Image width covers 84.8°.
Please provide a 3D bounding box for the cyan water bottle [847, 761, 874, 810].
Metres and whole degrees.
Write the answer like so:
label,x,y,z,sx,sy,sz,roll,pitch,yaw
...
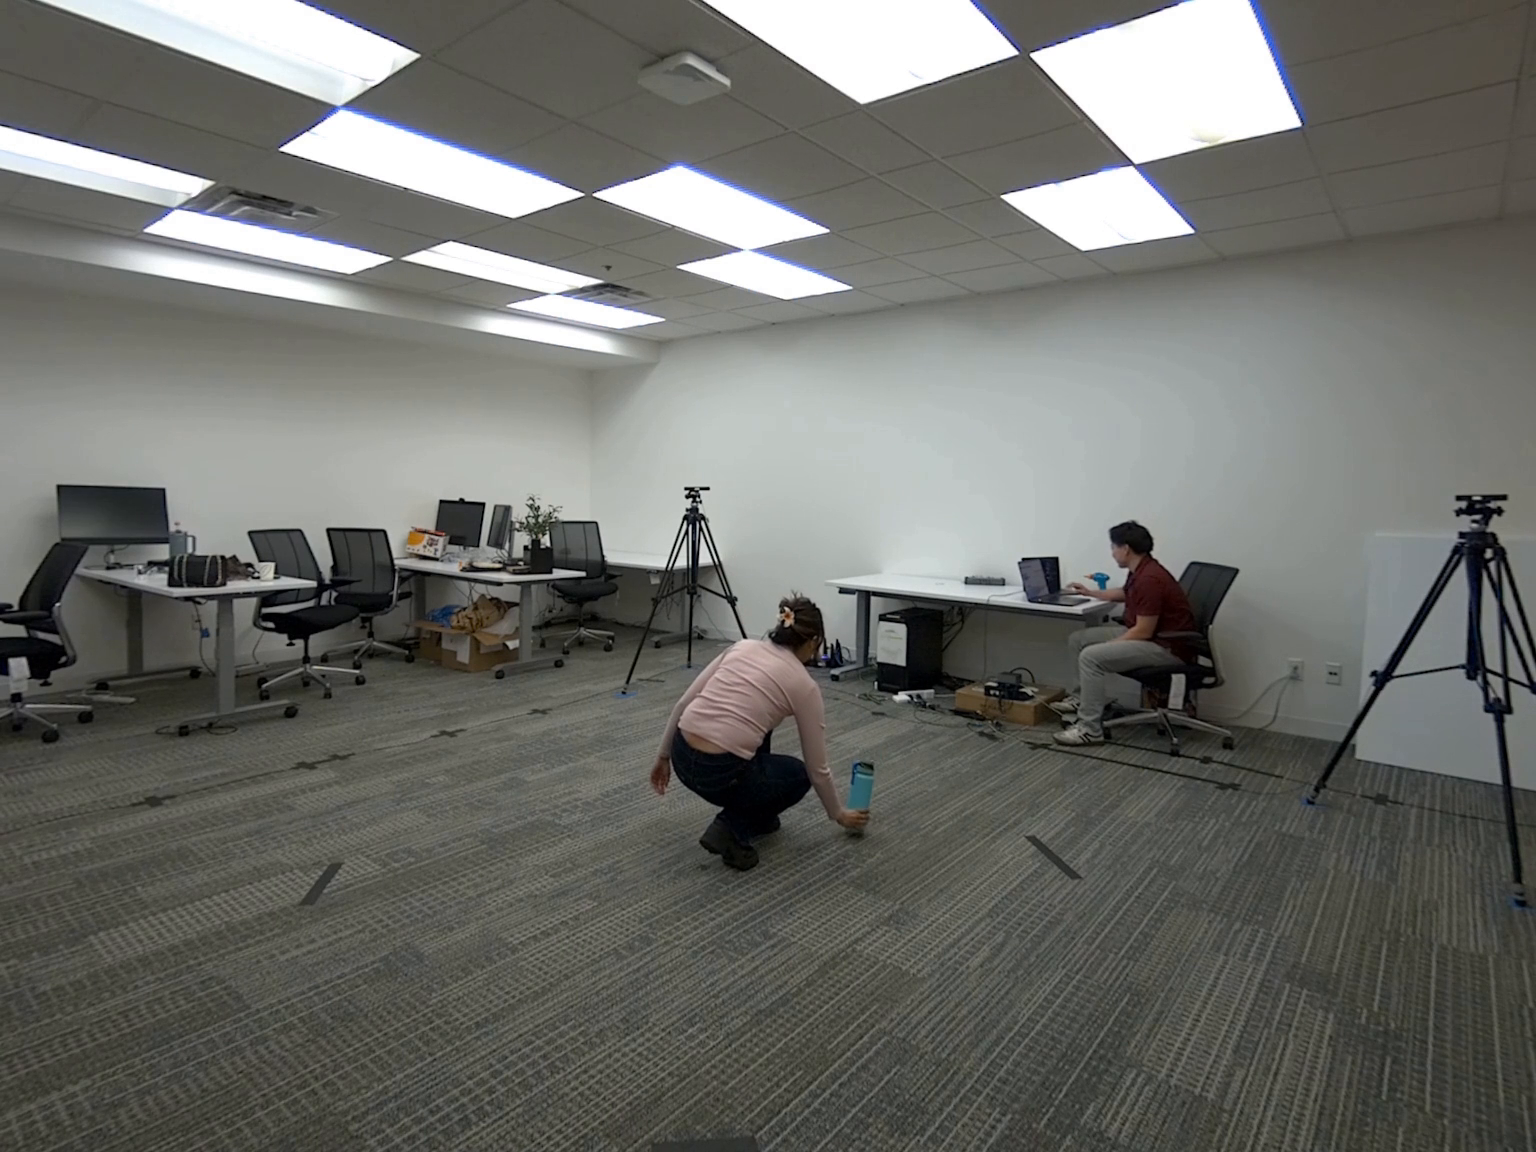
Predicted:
label,x,y,z,sx,sy,sz,roll,pitch,yaw
cyan water bottle,0.366,0.886,3.454,0.092,0.284,0.092,9,-2,-2
